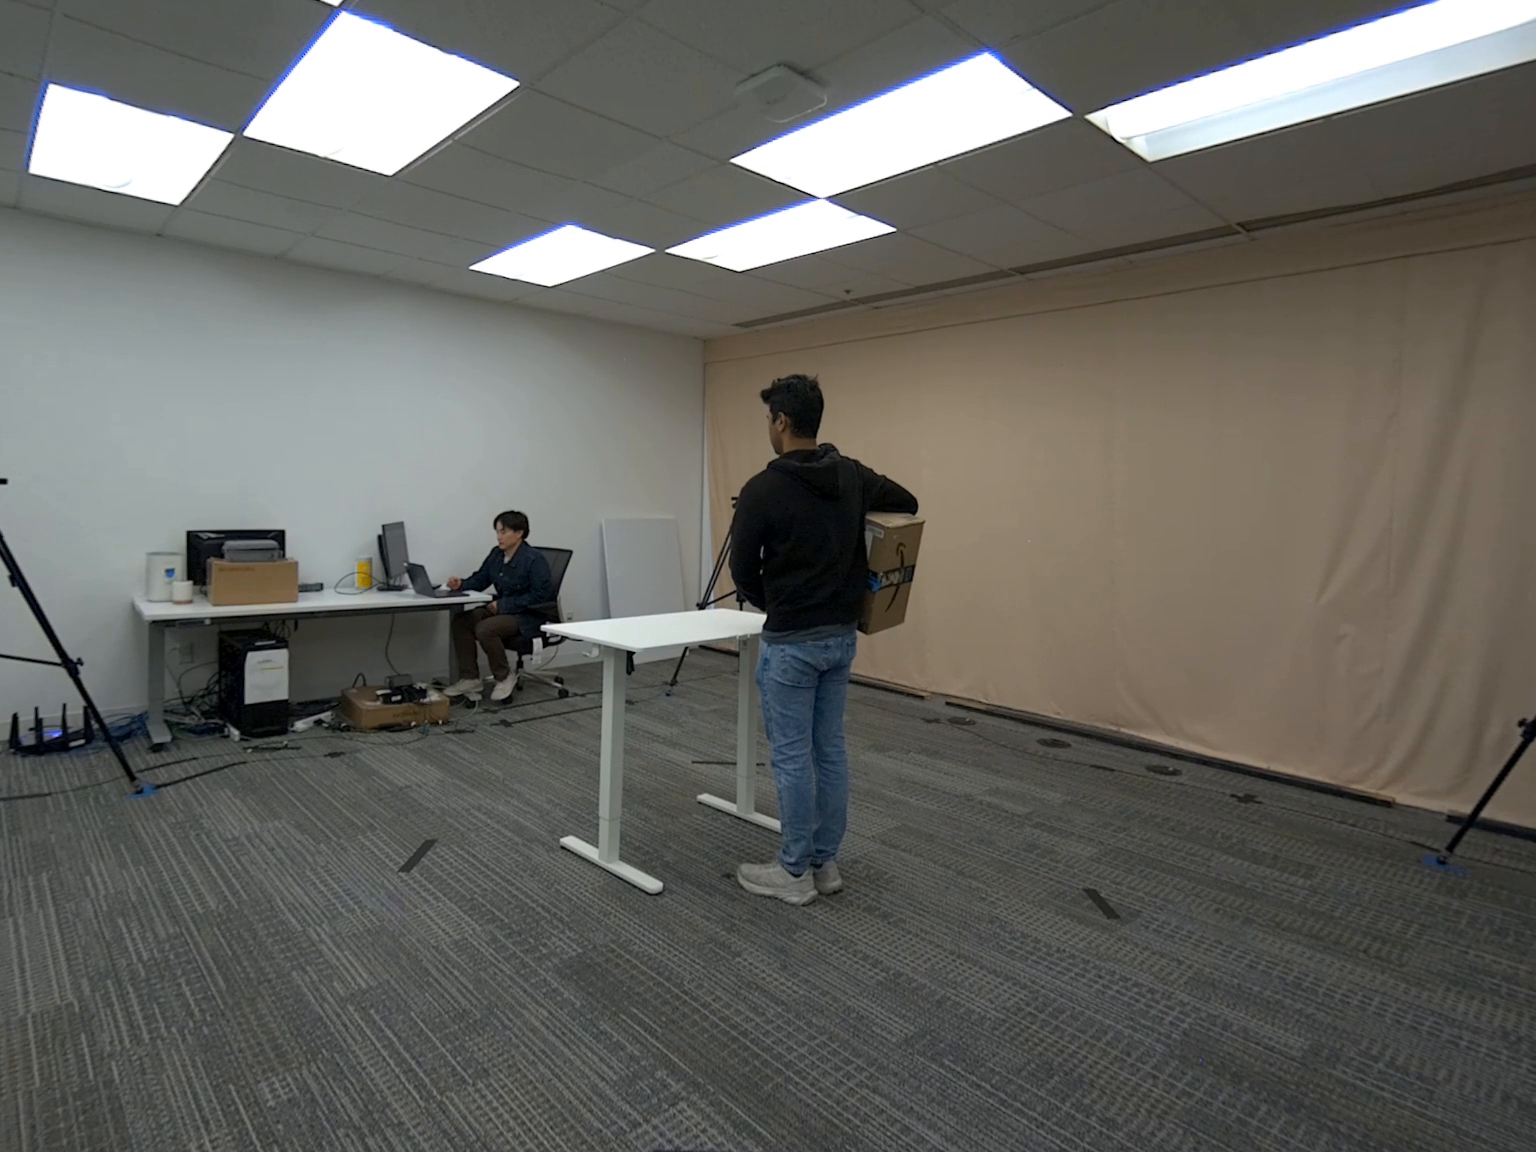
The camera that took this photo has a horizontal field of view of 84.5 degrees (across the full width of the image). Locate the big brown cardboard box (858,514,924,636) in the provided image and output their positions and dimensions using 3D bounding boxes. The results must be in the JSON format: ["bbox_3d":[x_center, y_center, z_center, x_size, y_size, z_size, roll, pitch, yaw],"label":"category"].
[{"bbox_3d":[0.271,-0.084,3.191,0.229,0.412,0.607,-10,26,-40],"label":"big brown cardboard box"}]
